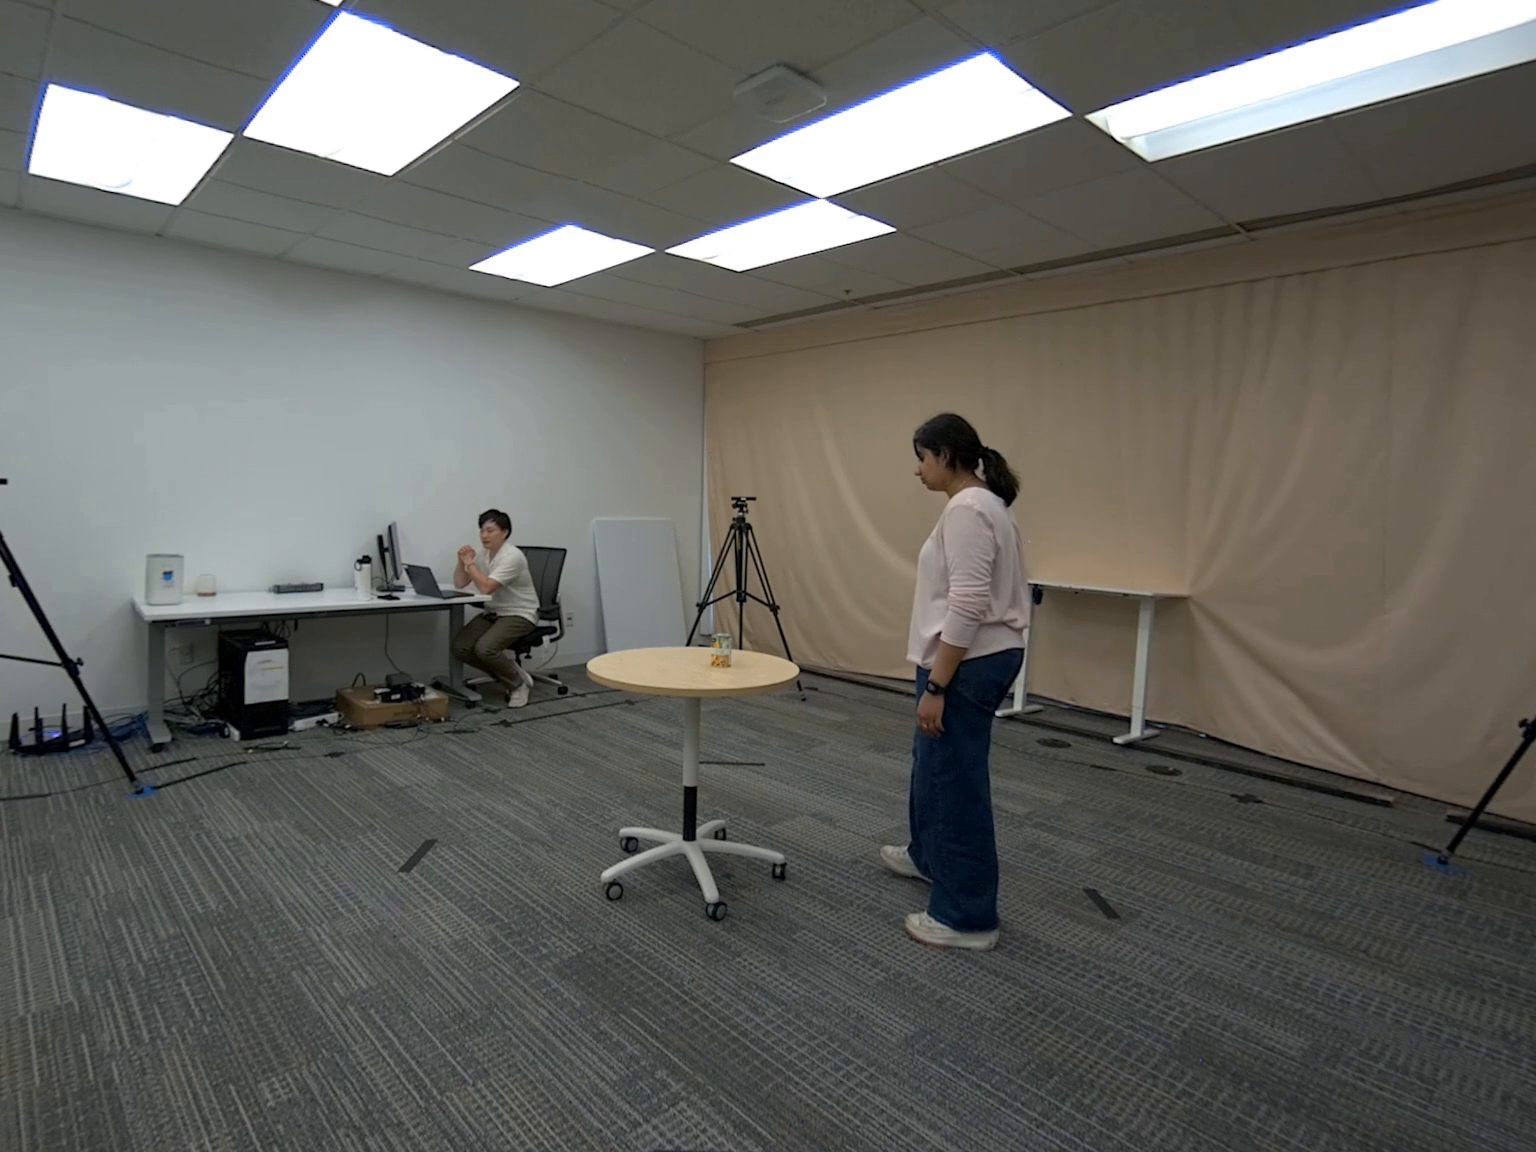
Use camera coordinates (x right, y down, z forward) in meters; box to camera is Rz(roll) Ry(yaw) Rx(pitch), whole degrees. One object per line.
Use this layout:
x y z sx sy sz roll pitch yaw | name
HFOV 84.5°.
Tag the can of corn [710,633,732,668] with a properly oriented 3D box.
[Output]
-0.173 0.271 3.061 0.074 0.110 0.074 3 6 -2 | can of corn
